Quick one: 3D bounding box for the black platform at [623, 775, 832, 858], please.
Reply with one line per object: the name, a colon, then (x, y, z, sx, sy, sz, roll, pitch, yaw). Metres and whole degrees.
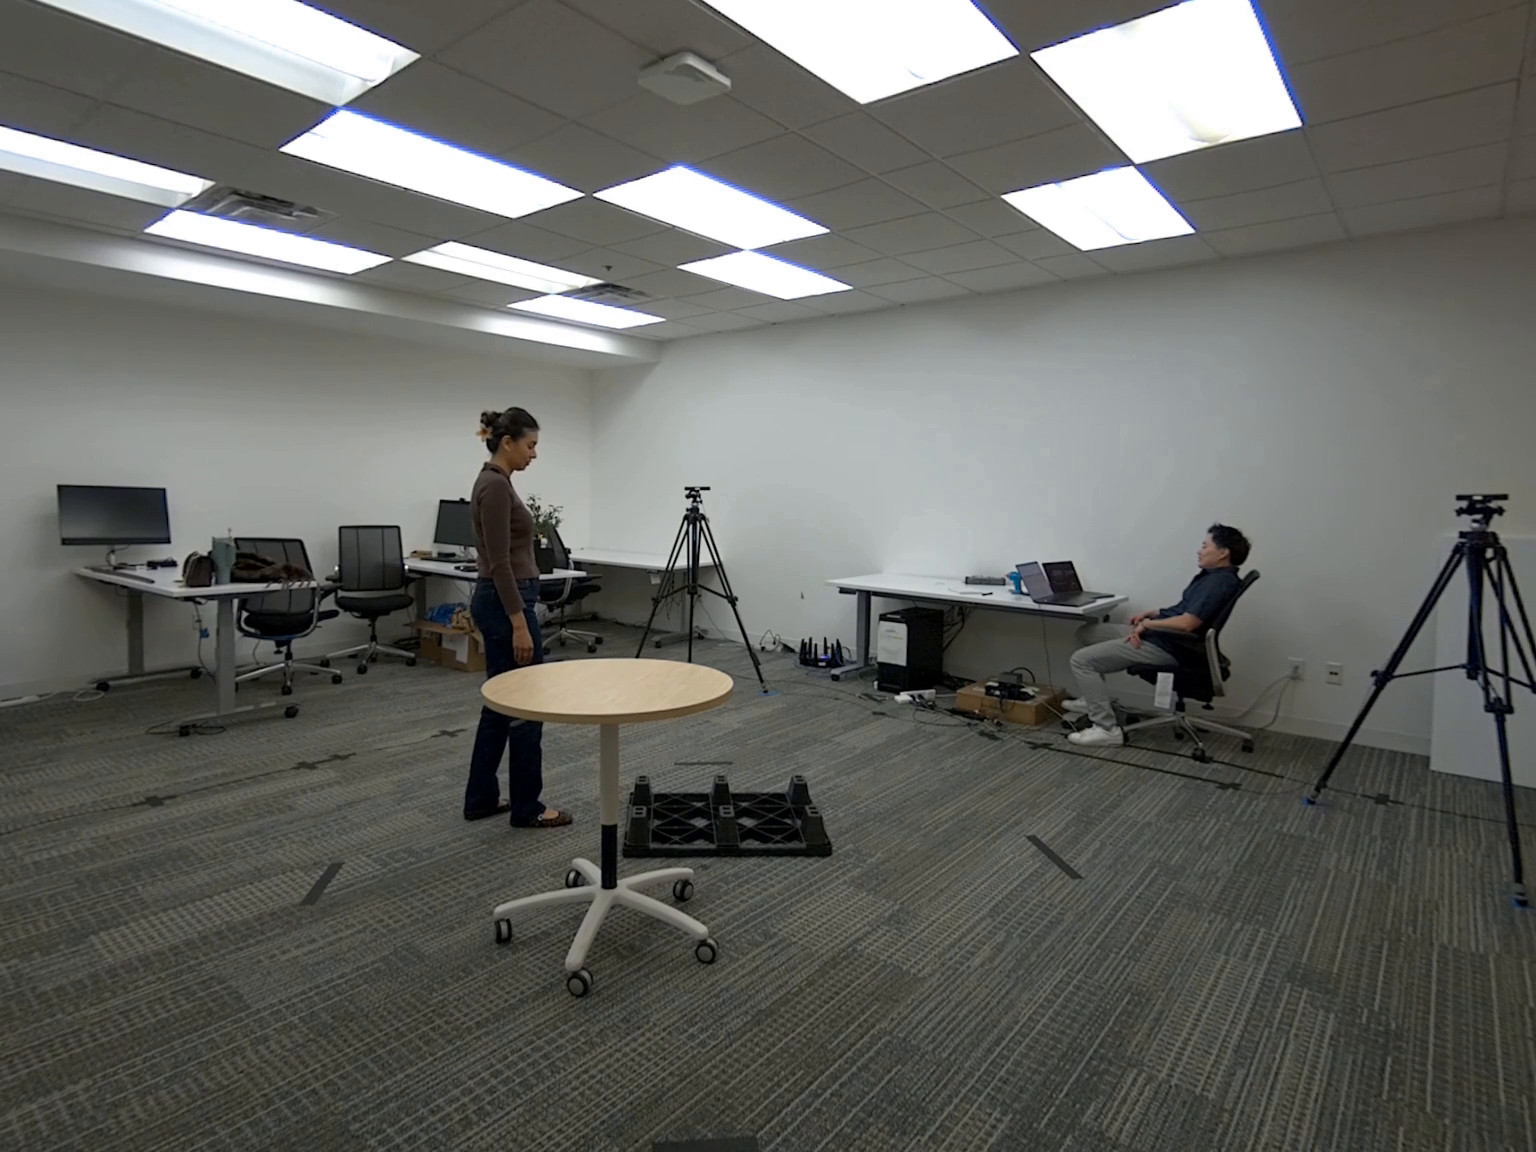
black platform: (-0.187, 0.961, 3.499, 0.802, 0.143, 0.611, 1, 6, -5)
